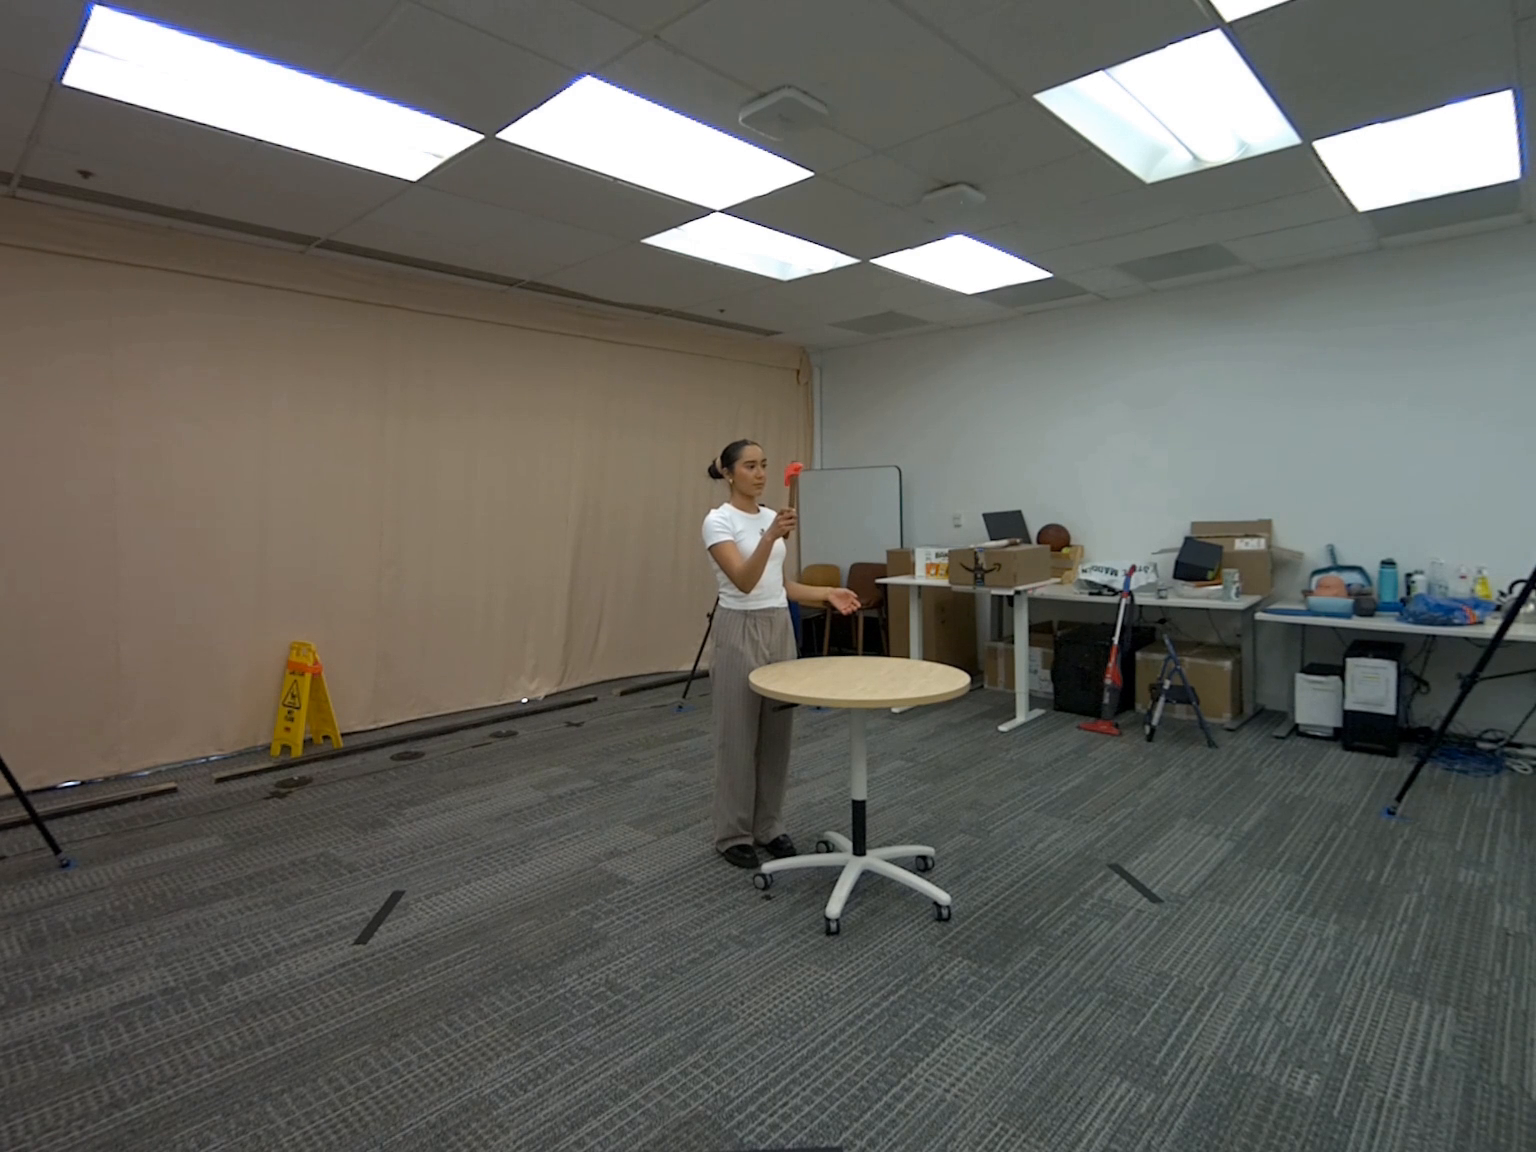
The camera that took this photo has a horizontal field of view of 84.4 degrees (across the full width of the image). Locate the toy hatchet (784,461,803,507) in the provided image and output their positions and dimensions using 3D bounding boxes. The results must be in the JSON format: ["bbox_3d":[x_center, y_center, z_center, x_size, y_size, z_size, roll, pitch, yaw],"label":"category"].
[{"bbox_3d":[0.074,-0.273,2.967,0.029,0.269,0.135,6,11,-25],"label":"toy hatchet"}]
